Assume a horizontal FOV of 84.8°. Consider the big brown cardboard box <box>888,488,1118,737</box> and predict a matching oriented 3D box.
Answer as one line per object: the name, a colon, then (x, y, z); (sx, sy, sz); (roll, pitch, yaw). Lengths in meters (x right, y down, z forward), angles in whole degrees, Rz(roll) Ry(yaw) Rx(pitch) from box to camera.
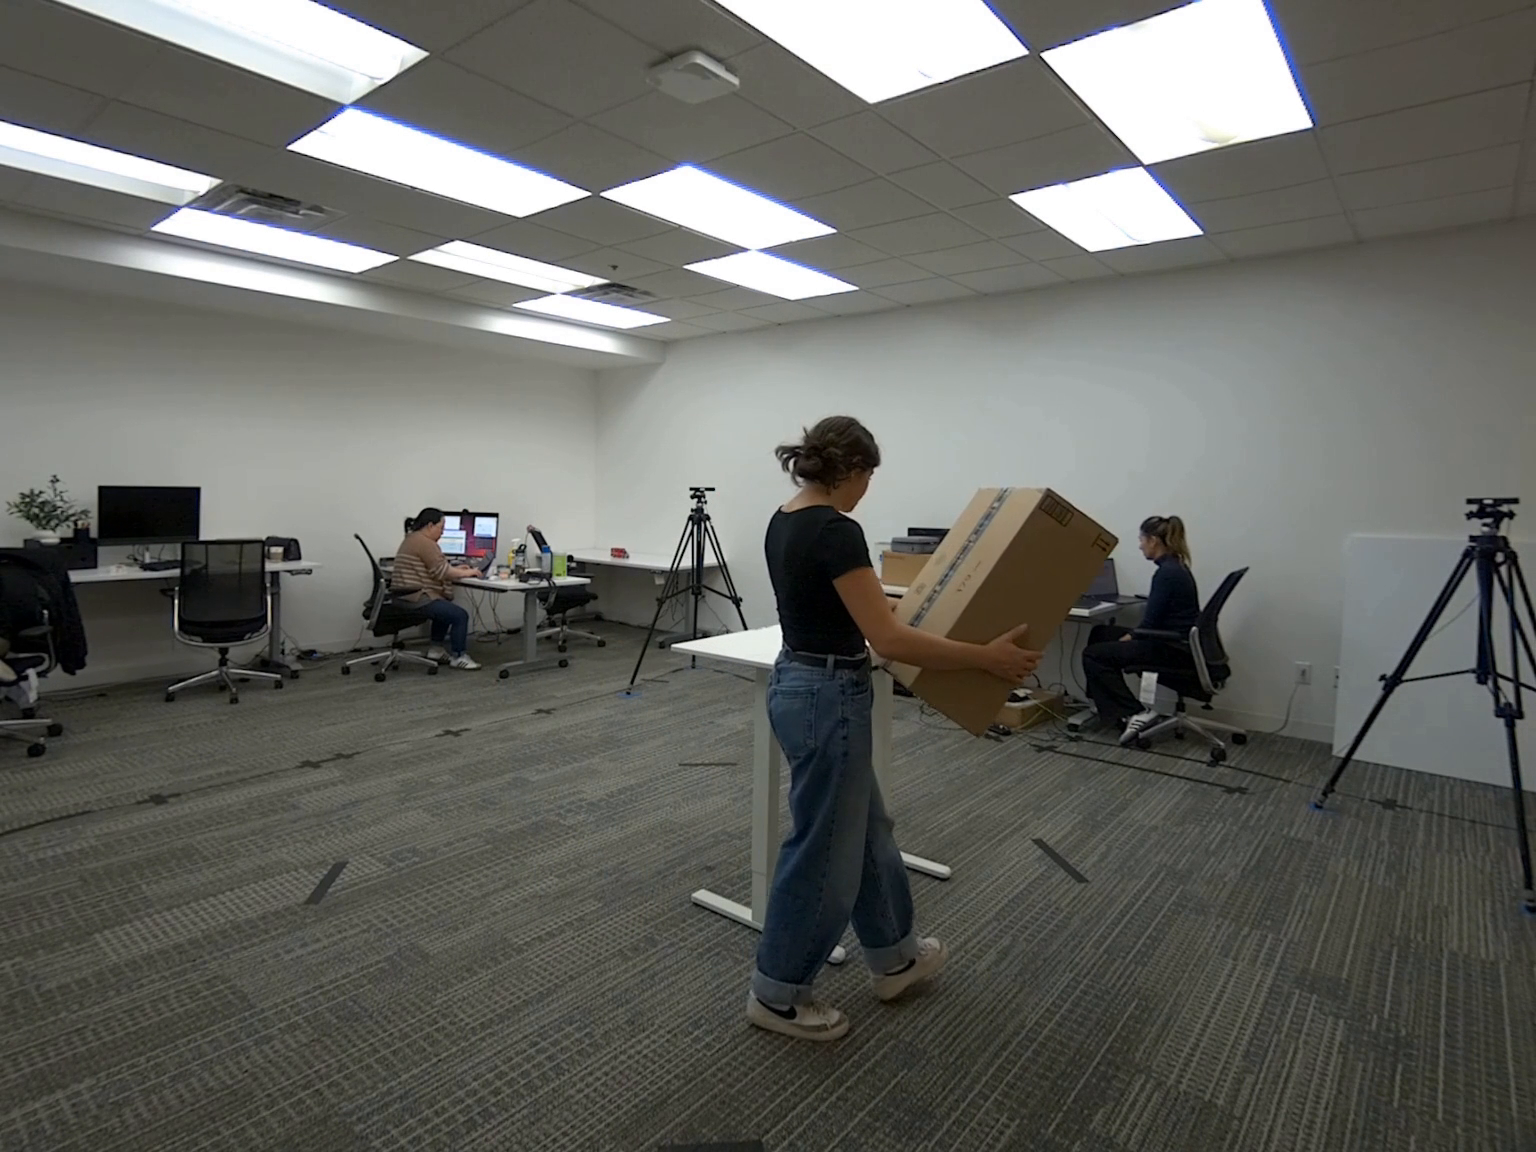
big brown cardboard box: (0.547, 0.064, 2.154); (0.230, 0.589, 0.422); (35, -1, -10)
